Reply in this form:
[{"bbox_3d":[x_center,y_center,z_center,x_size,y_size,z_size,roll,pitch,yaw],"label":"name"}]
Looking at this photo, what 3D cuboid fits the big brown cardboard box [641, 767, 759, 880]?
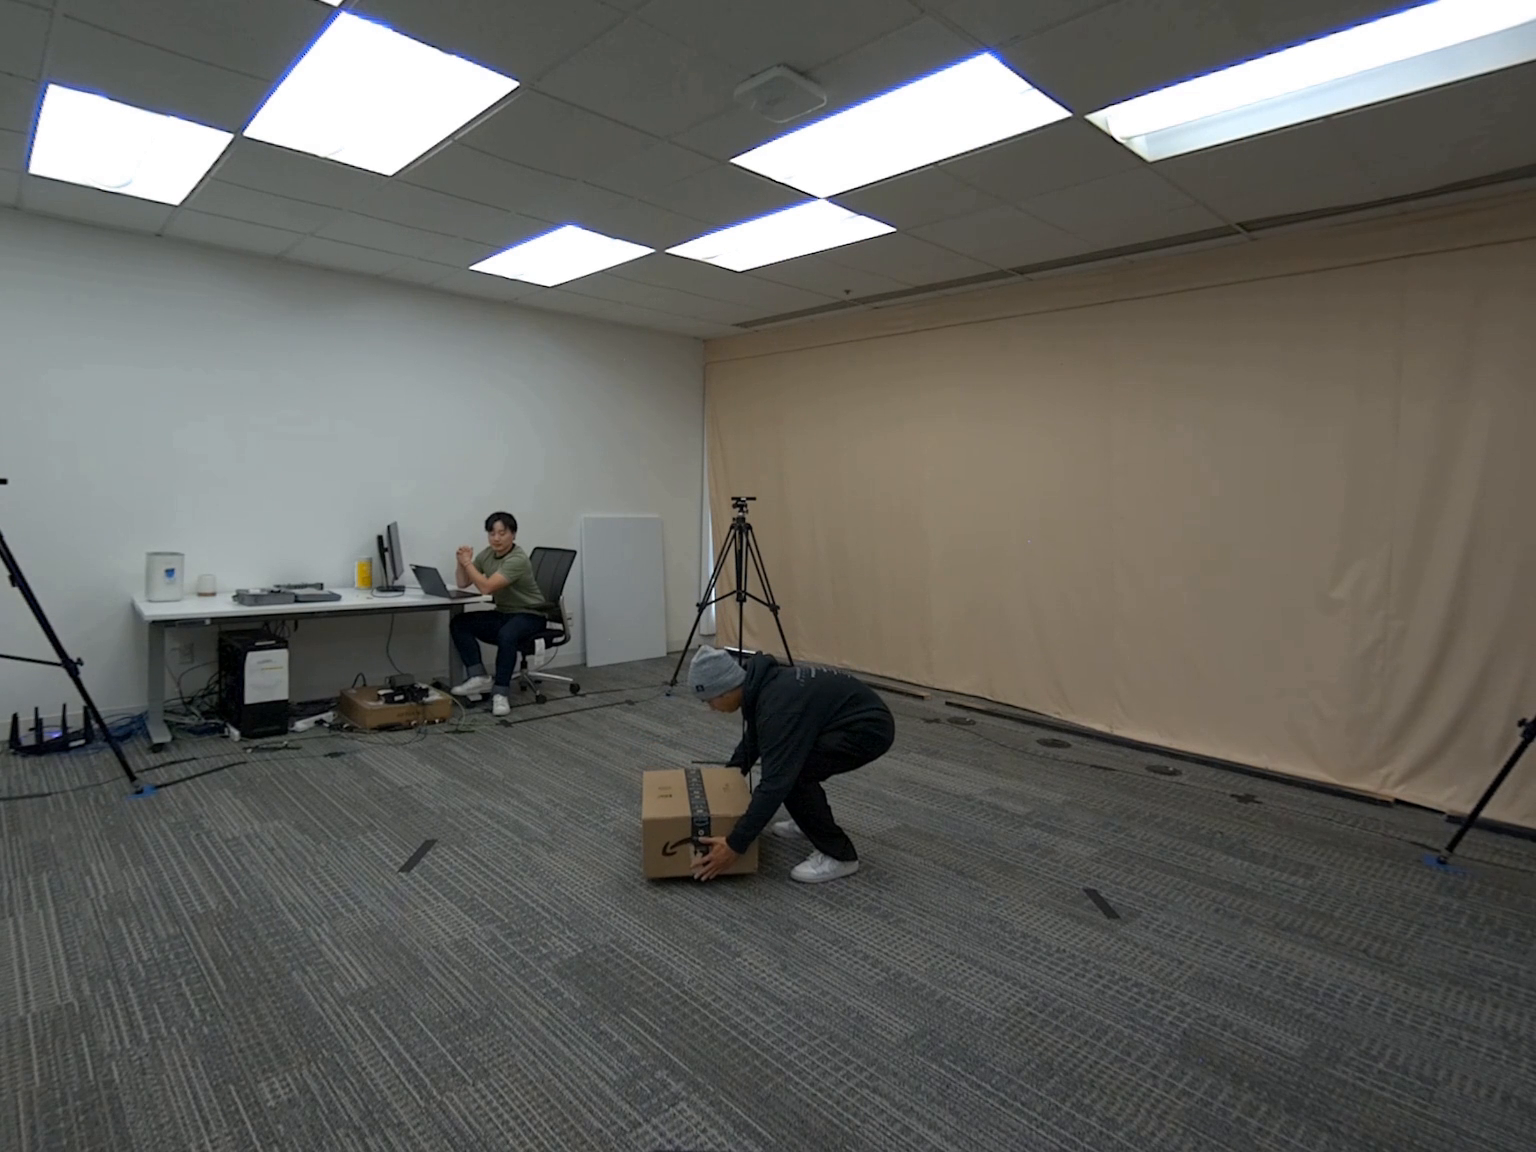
[{"bbox_3d":[-0.287,0.940,3.278,0.415,0.233,0.593,0,3,-7],"label":"big brown cardboard box"}]
